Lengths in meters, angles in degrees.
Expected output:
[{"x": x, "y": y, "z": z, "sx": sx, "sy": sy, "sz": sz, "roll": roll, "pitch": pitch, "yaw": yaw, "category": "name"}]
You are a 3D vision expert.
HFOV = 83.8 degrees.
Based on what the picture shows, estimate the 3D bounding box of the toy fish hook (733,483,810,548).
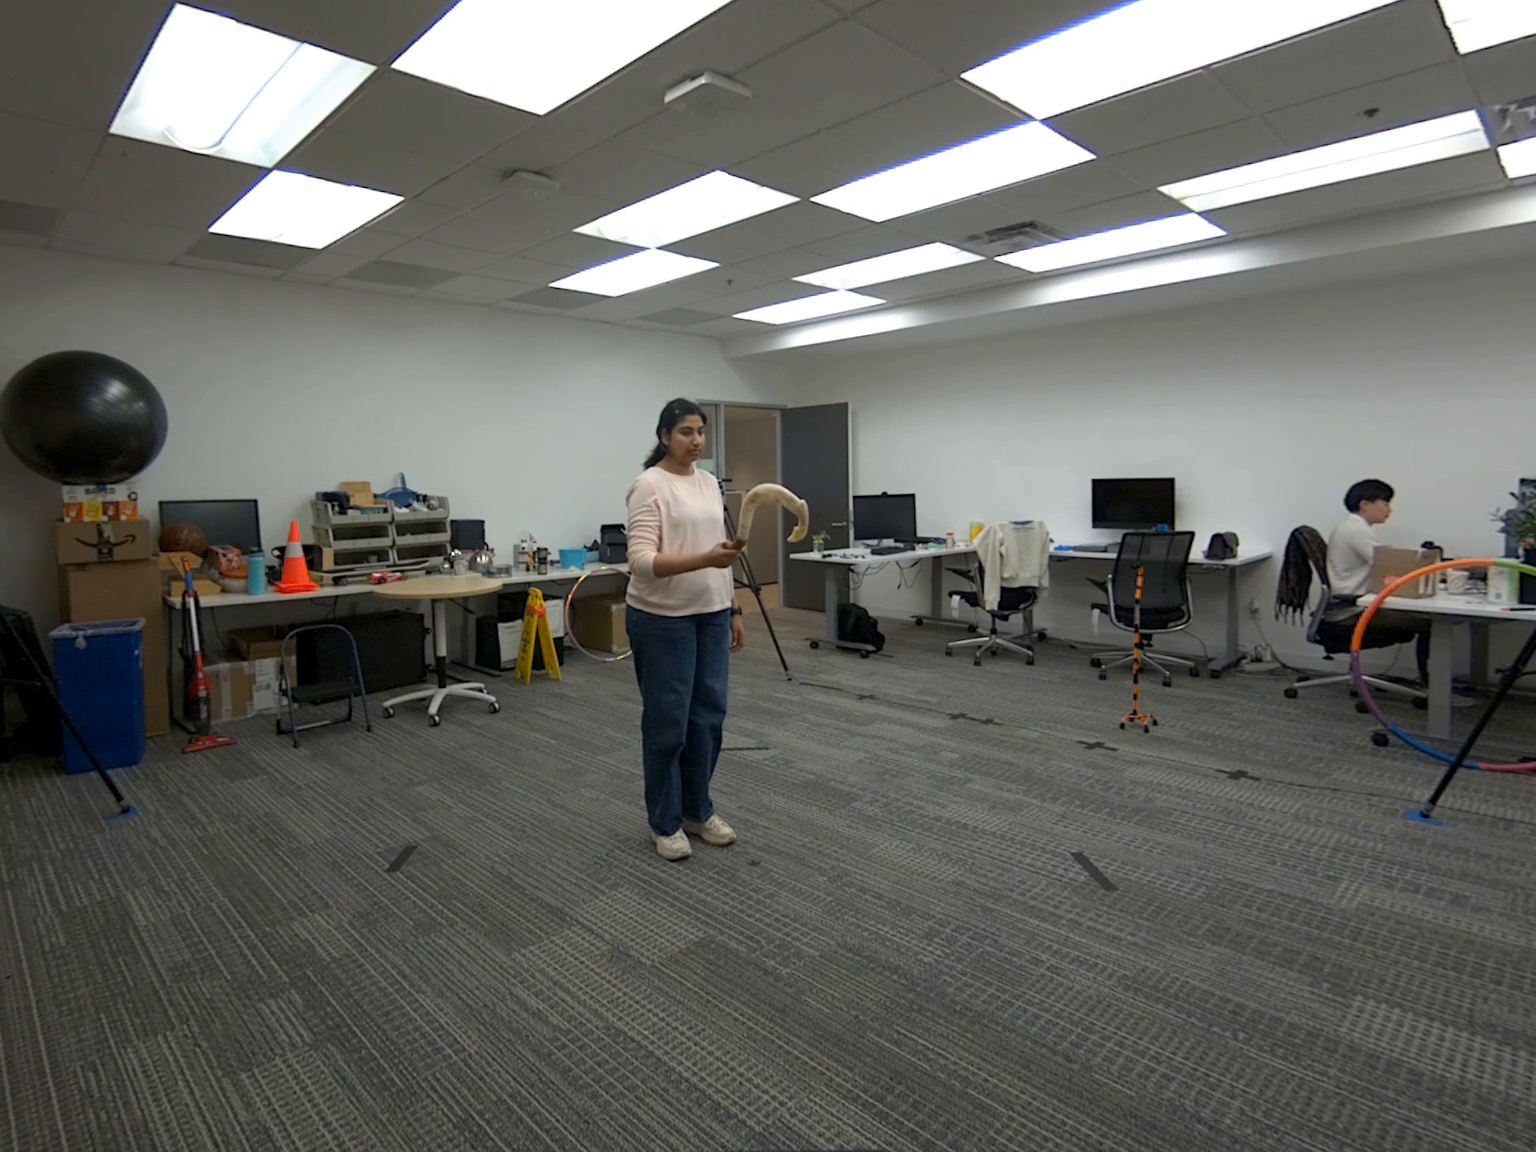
[{"x": -0.034, "y": -0.135, "z": 2.803, "sx": 0.048, "sy": 0.225, "sz": 0.504, "roll": -54, "pitch": 1, "yaw": -37, "category": "toy fish hook"}]
